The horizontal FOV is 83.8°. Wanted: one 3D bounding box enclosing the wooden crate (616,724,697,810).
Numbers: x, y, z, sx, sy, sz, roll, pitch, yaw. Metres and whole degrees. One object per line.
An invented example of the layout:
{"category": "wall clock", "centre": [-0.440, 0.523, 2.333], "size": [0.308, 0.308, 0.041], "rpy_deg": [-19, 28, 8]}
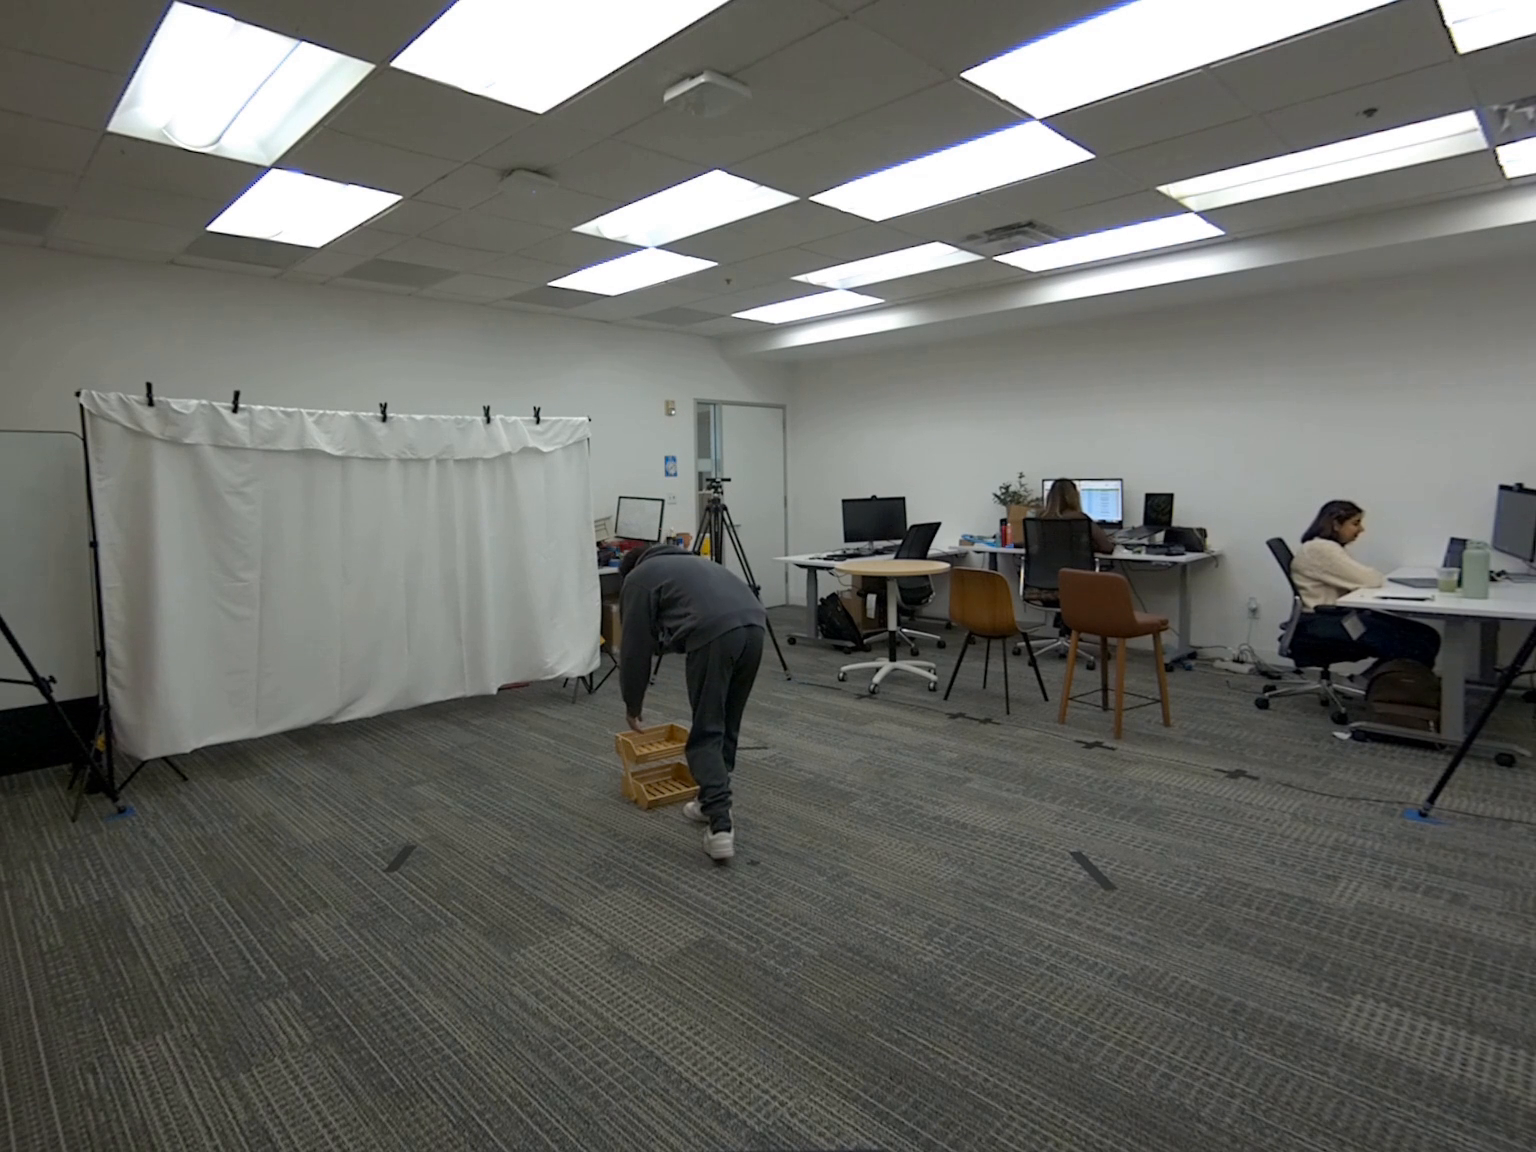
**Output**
{"category": "wooden crate", "centre": [-0.476, 0.835, 3.815], "size": [0.316, 0.272, 0.311], "rpy_deg": [-4, 5, -35]}
